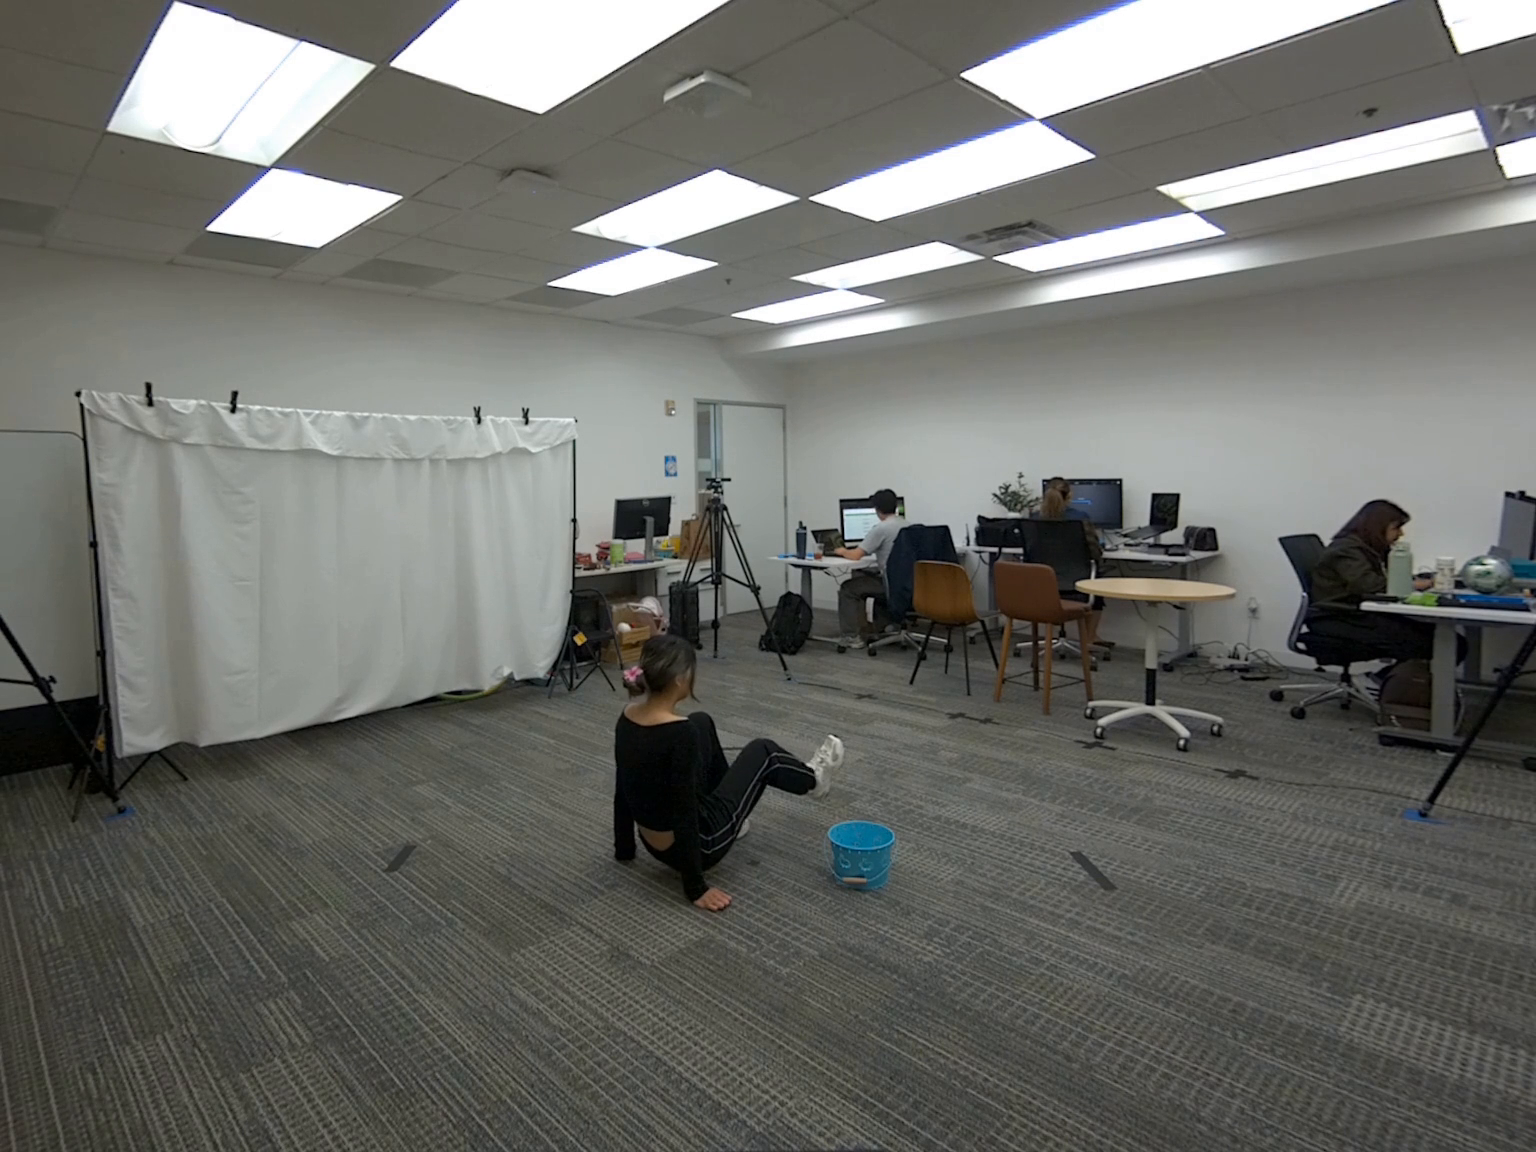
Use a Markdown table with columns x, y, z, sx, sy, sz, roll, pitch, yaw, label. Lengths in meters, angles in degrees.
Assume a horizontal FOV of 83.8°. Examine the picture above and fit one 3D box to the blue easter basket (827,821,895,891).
| x | y | z | sx | sy | sz | roll | pitch | yaw | label |
| --- | --- | --- | --- | --- | --- | --- | --- | --- | --- |
| 0.317 | 0.960 | 2.979 | 0.243 | 0.155 | 0.245 | -1 | 6 | -2 | blue easter basket |
